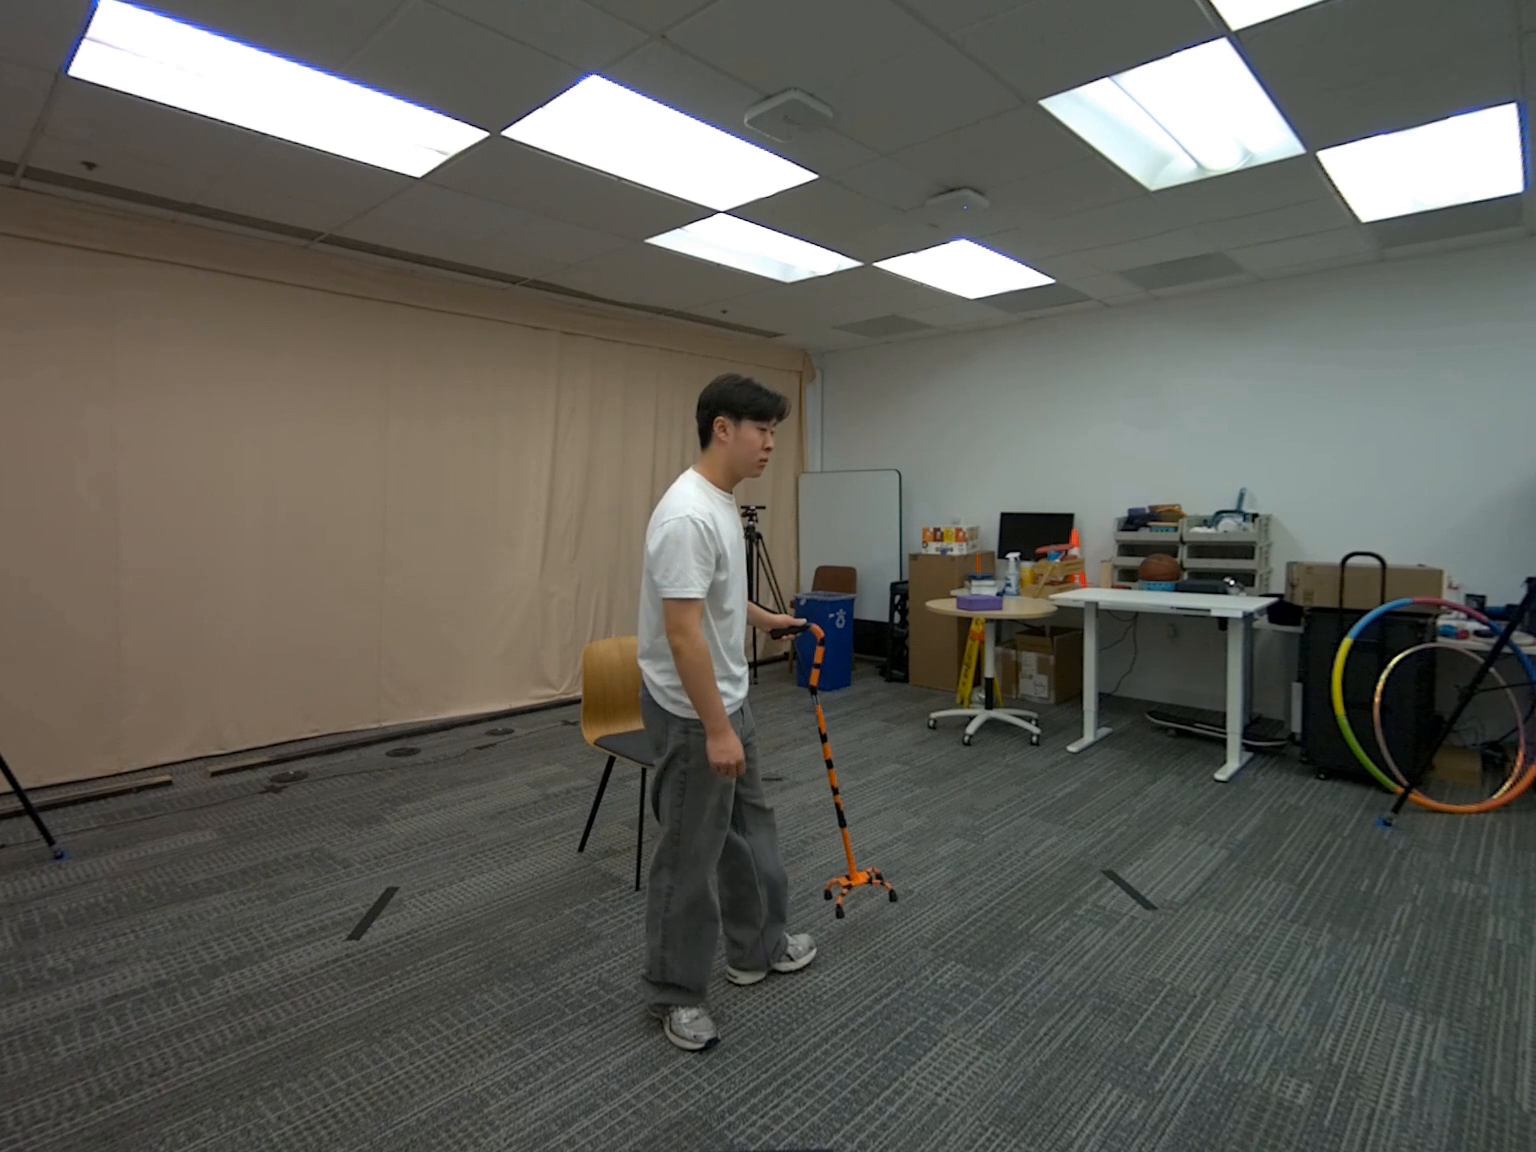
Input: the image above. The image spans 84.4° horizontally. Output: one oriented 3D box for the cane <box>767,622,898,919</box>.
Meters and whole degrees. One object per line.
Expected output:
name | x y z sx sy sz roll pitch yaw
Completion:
cane | 0.205 0.607 2.624 0.205 0.904 0.153 -13 4 -8
